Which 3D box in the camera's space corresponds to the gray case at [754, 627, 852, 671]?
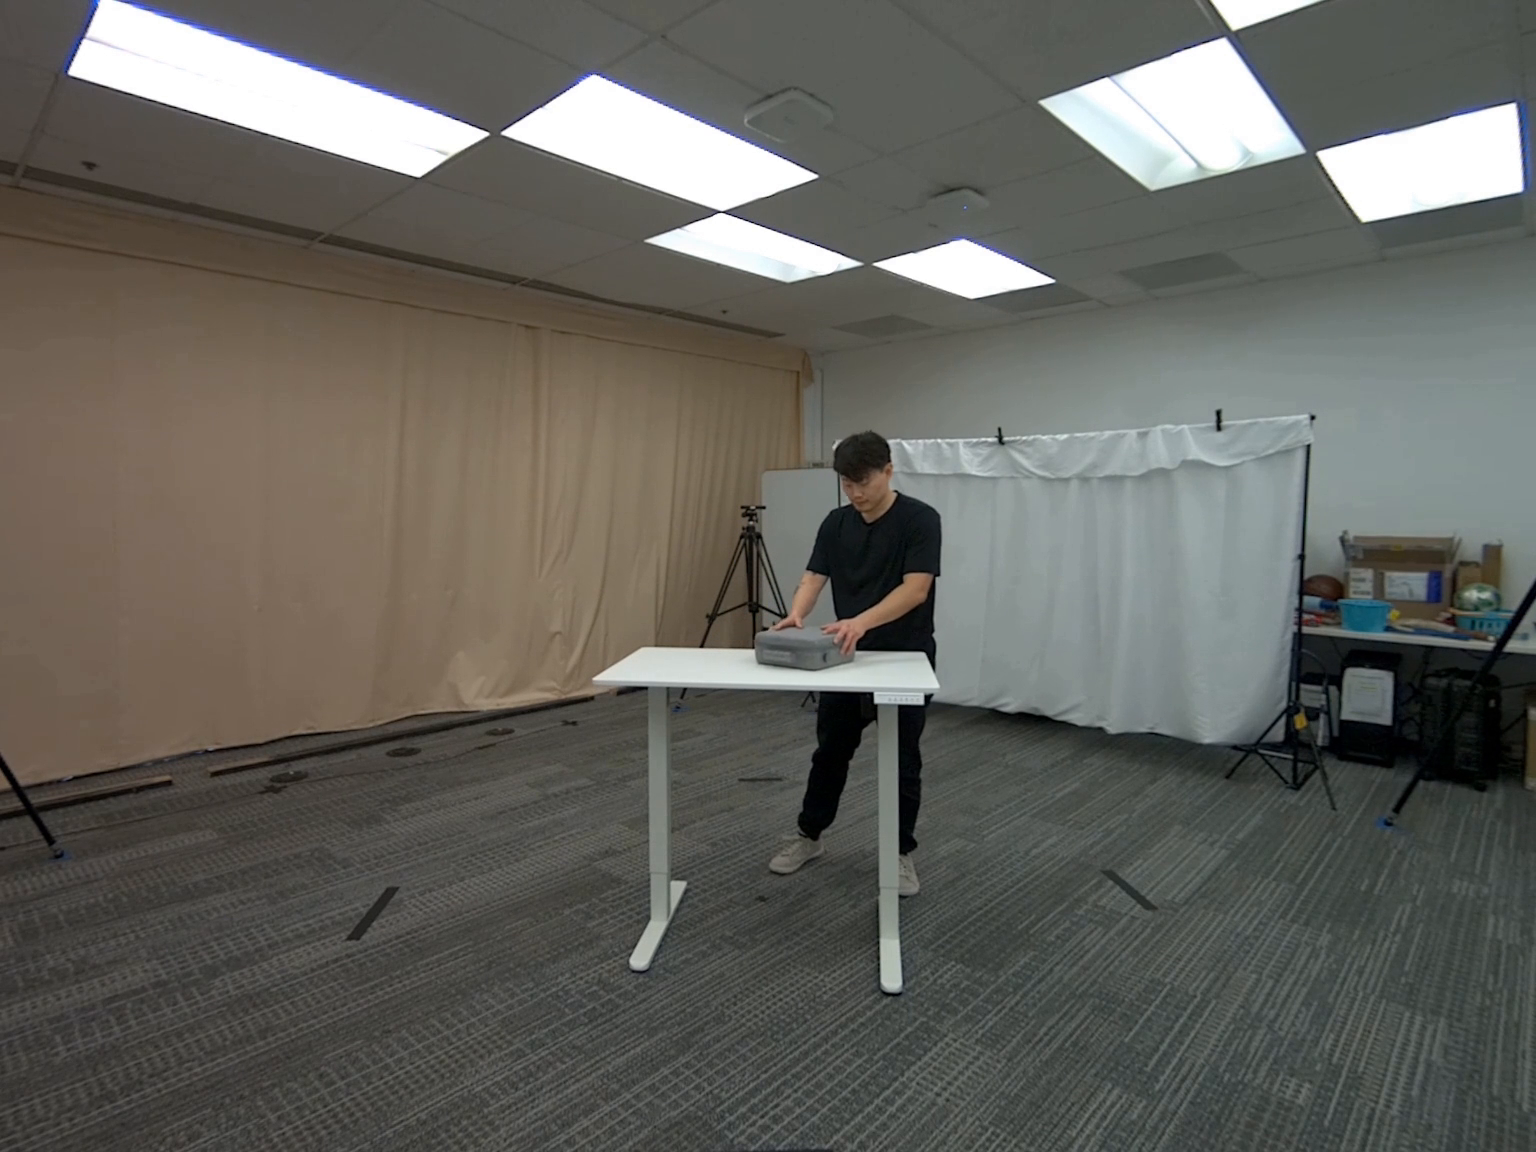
[{"bbox_3d":[0.115,0.230,2.732,0.265,0.104,0.253,4,5,38],"label":"gray case"}]
